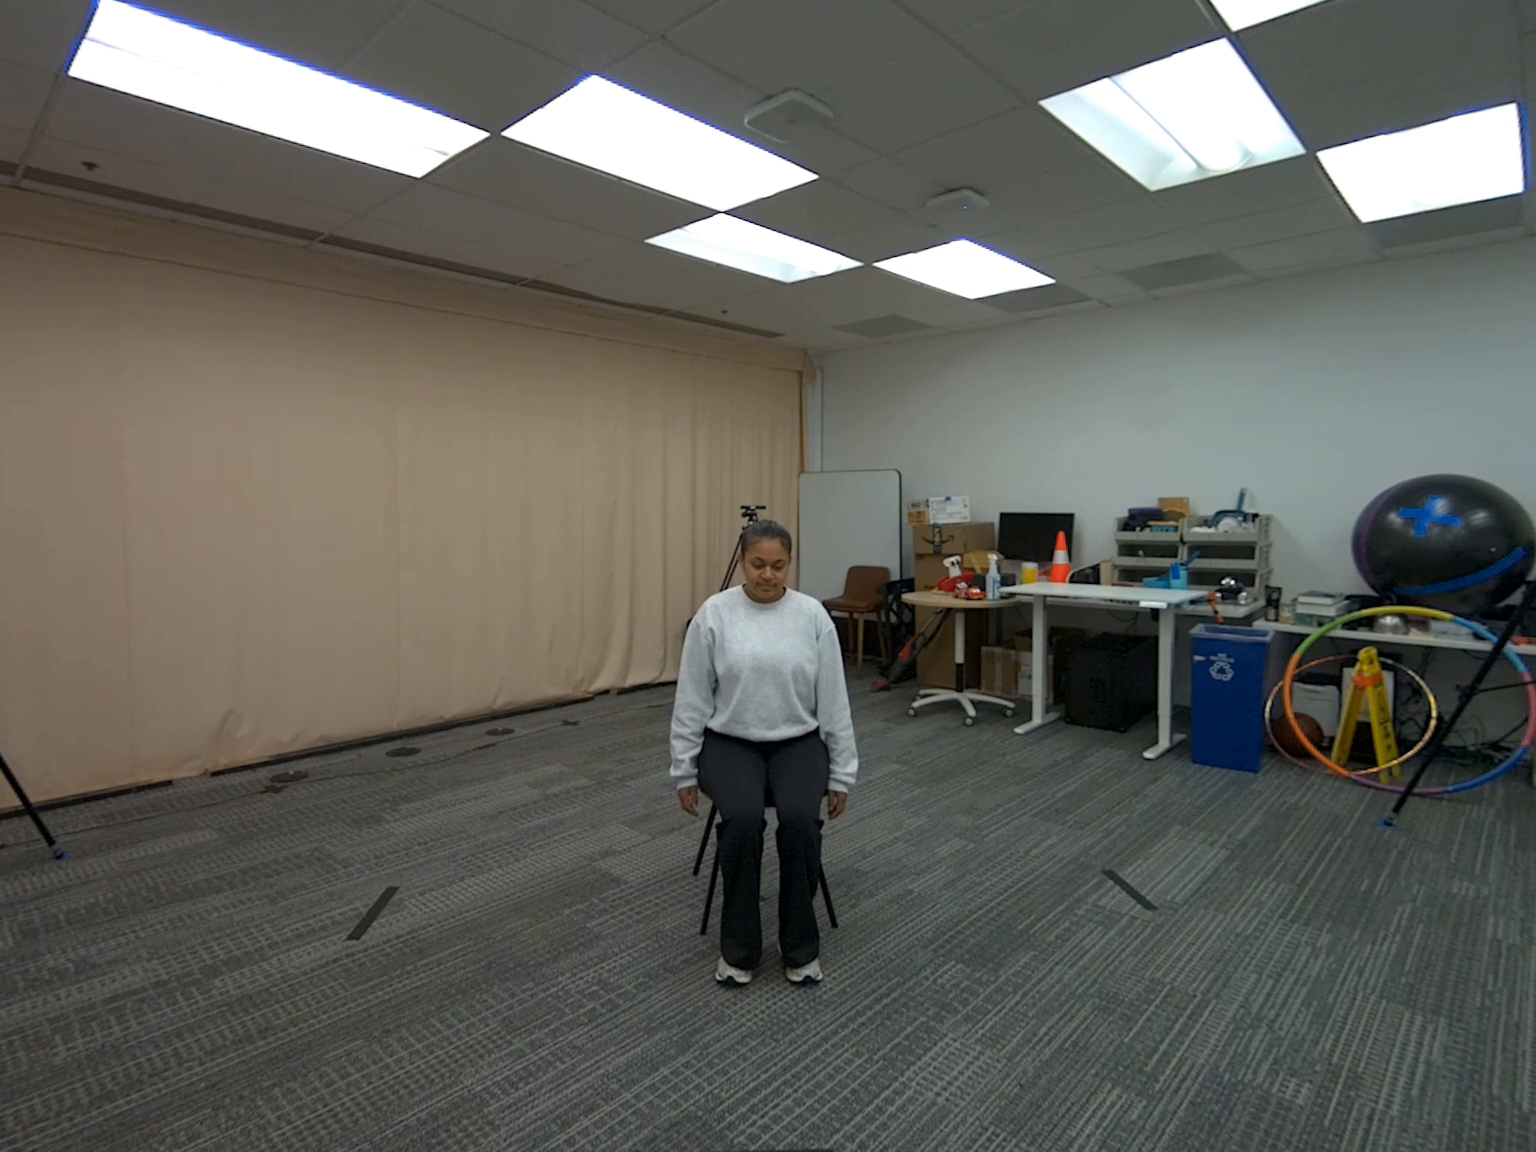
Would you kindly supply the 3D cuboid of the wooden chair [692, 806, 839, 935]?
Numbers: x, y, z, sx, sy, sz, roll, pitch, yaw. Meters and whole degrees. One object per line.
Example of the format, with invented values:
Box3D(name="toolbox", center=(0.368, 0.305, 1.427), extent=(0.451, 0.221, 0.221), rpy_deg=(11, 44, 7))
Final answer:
Box3D(name="wooden chair", center=(-0.021, 0.720, 2.940), extent=(0.474, 0.877, 0.527), rpy_deg=(0, 0, -8))
